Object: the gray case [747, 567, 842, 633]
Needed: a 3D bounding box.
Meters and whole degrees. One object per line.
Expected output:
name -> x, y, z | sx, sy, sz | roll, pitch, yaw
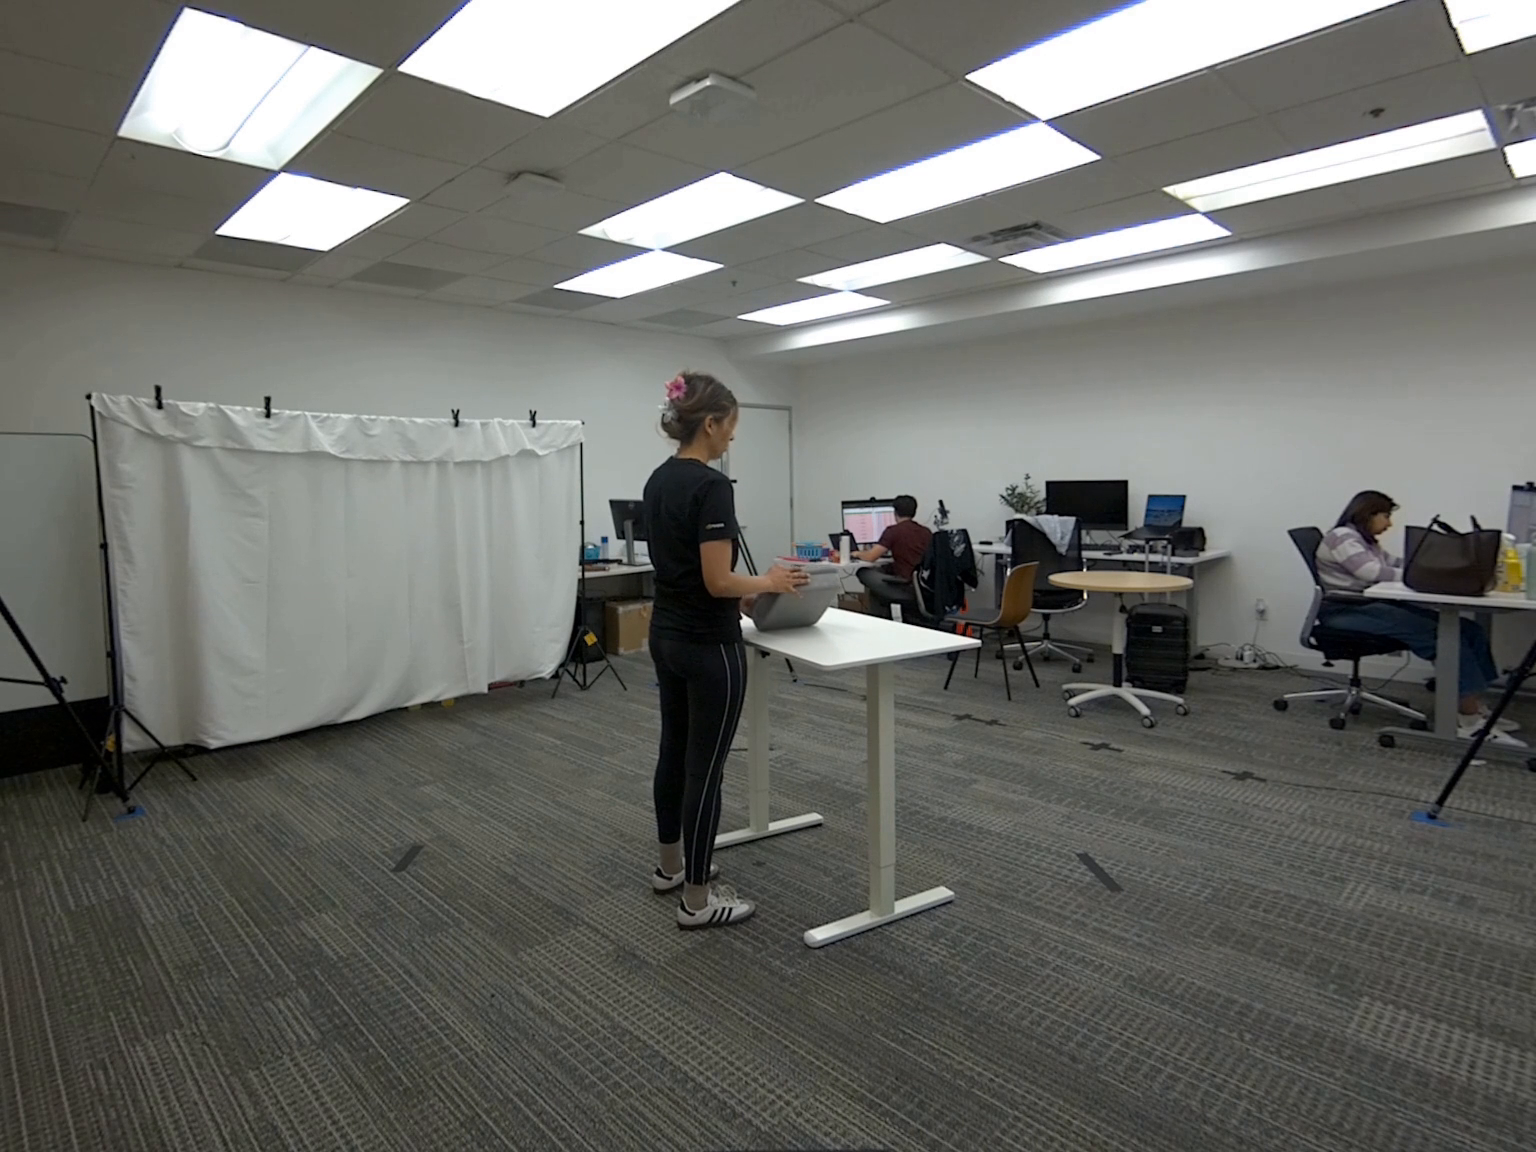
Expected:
gray case -> 0.095, 0.074, 2.883 | 0.255, 0.108, 0.254 | -4, -34, -25
